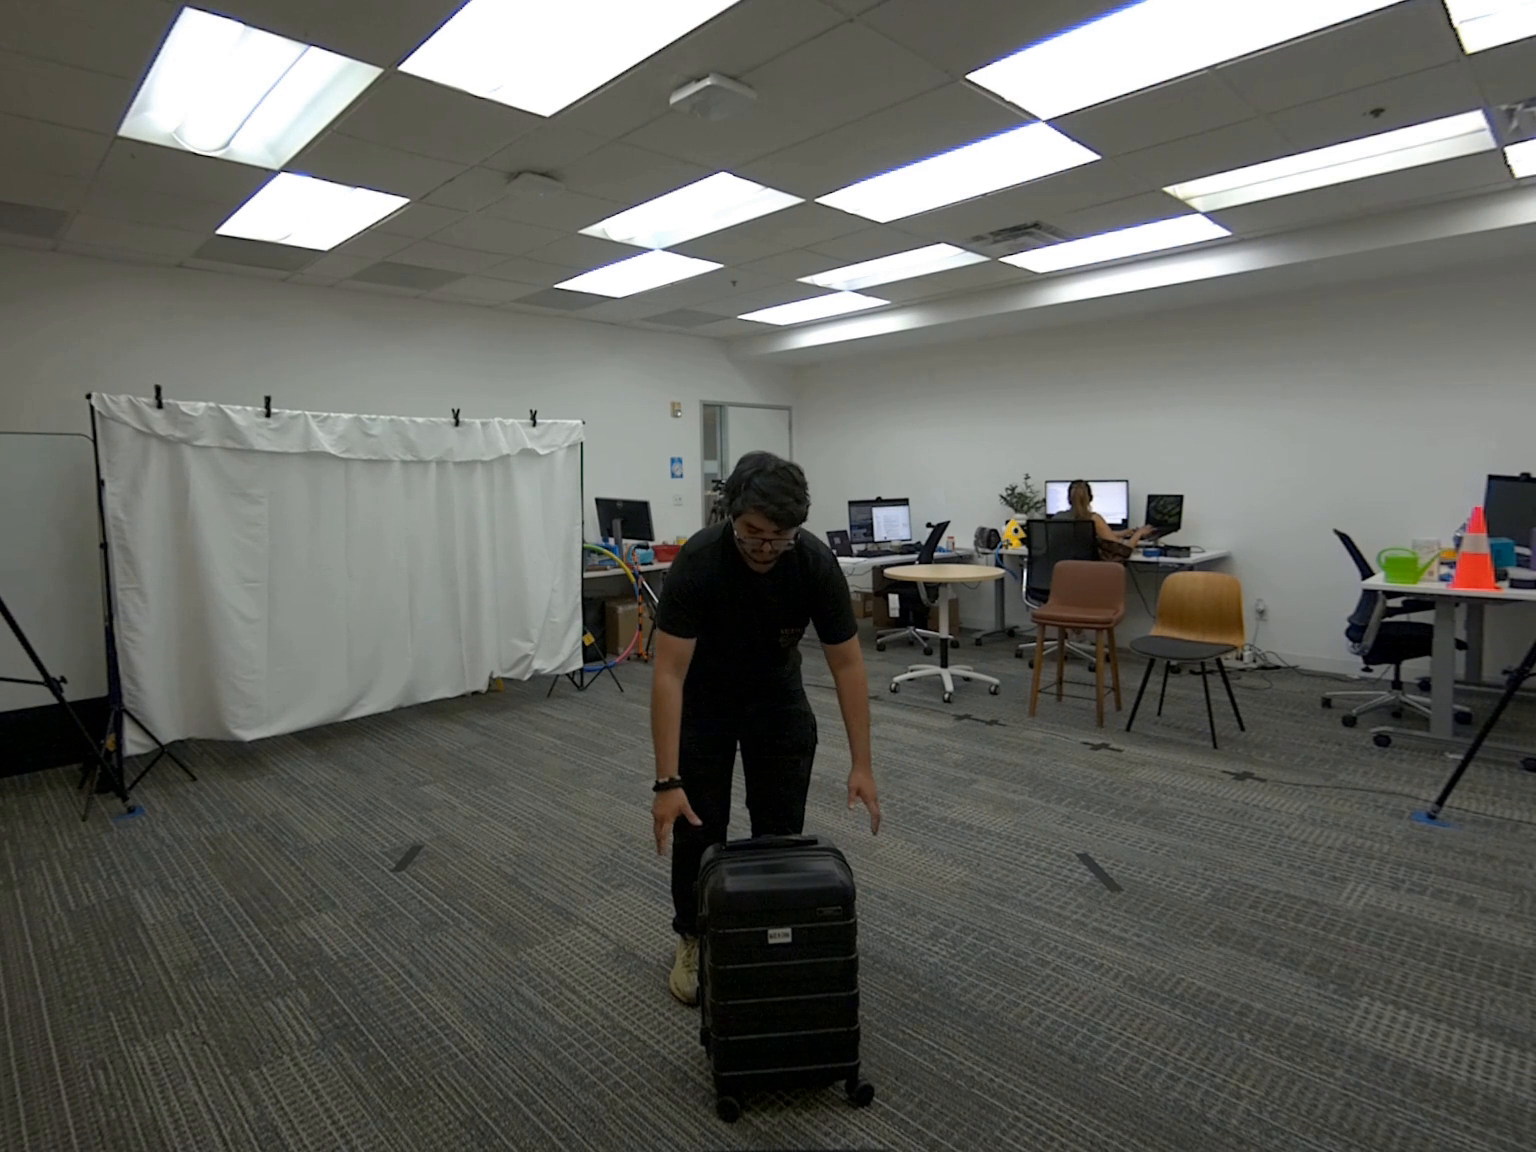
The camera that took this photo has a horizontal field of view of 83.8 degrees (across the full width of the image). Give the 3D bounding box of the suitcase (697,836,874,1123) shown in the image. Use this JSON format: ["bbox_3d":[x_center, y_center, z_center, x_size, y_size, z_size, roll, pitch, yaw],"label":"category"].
[{"bbox_3d":[0.032,0.905,1.988,0.374,0.547,0.251,-2,5,-5],"label":"suitcase"}]
